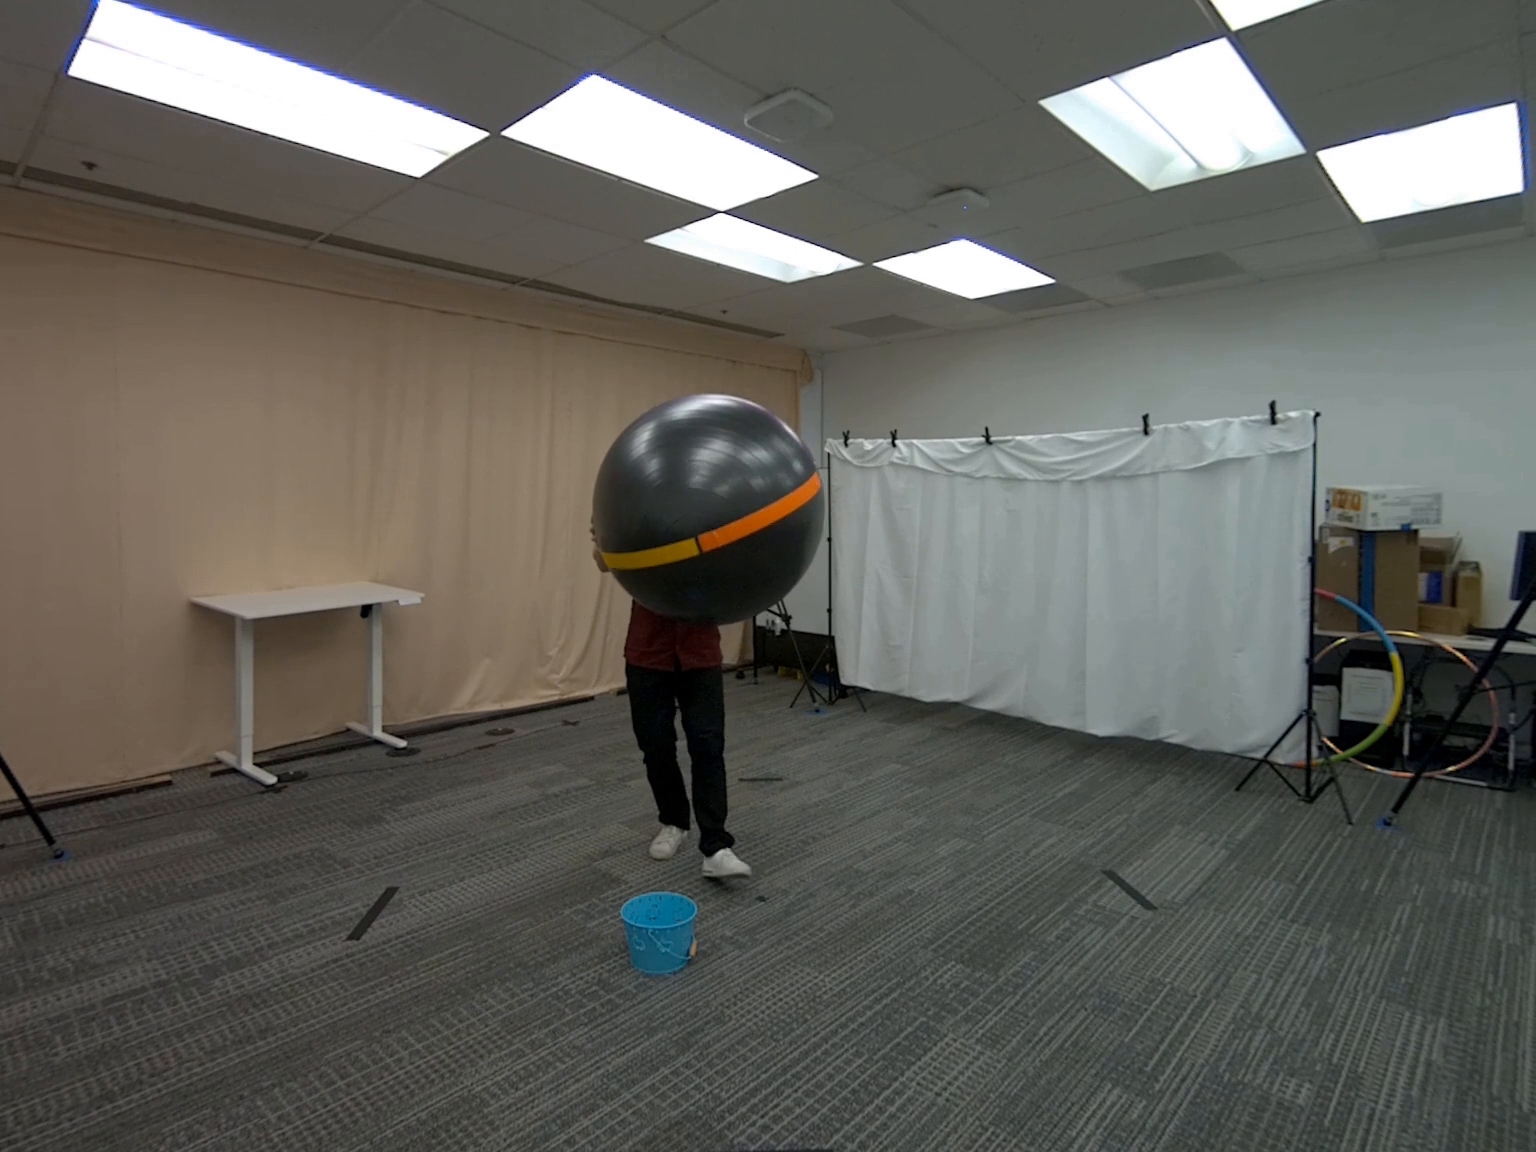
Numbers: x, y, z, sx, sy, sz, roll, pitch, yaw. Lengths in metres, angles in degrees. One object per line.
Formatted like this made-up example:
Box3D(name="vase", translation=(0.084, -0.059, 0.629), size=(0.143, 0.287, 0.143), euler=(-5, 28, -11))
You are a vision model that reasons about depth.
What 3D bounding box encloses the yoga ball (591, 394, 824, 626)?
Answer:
Box3D(name="yoga ball", translation=(-0.189, -0.208, 2.764), size=(0.757, 0.756, 0.760), euler=(0, 4, -2))
